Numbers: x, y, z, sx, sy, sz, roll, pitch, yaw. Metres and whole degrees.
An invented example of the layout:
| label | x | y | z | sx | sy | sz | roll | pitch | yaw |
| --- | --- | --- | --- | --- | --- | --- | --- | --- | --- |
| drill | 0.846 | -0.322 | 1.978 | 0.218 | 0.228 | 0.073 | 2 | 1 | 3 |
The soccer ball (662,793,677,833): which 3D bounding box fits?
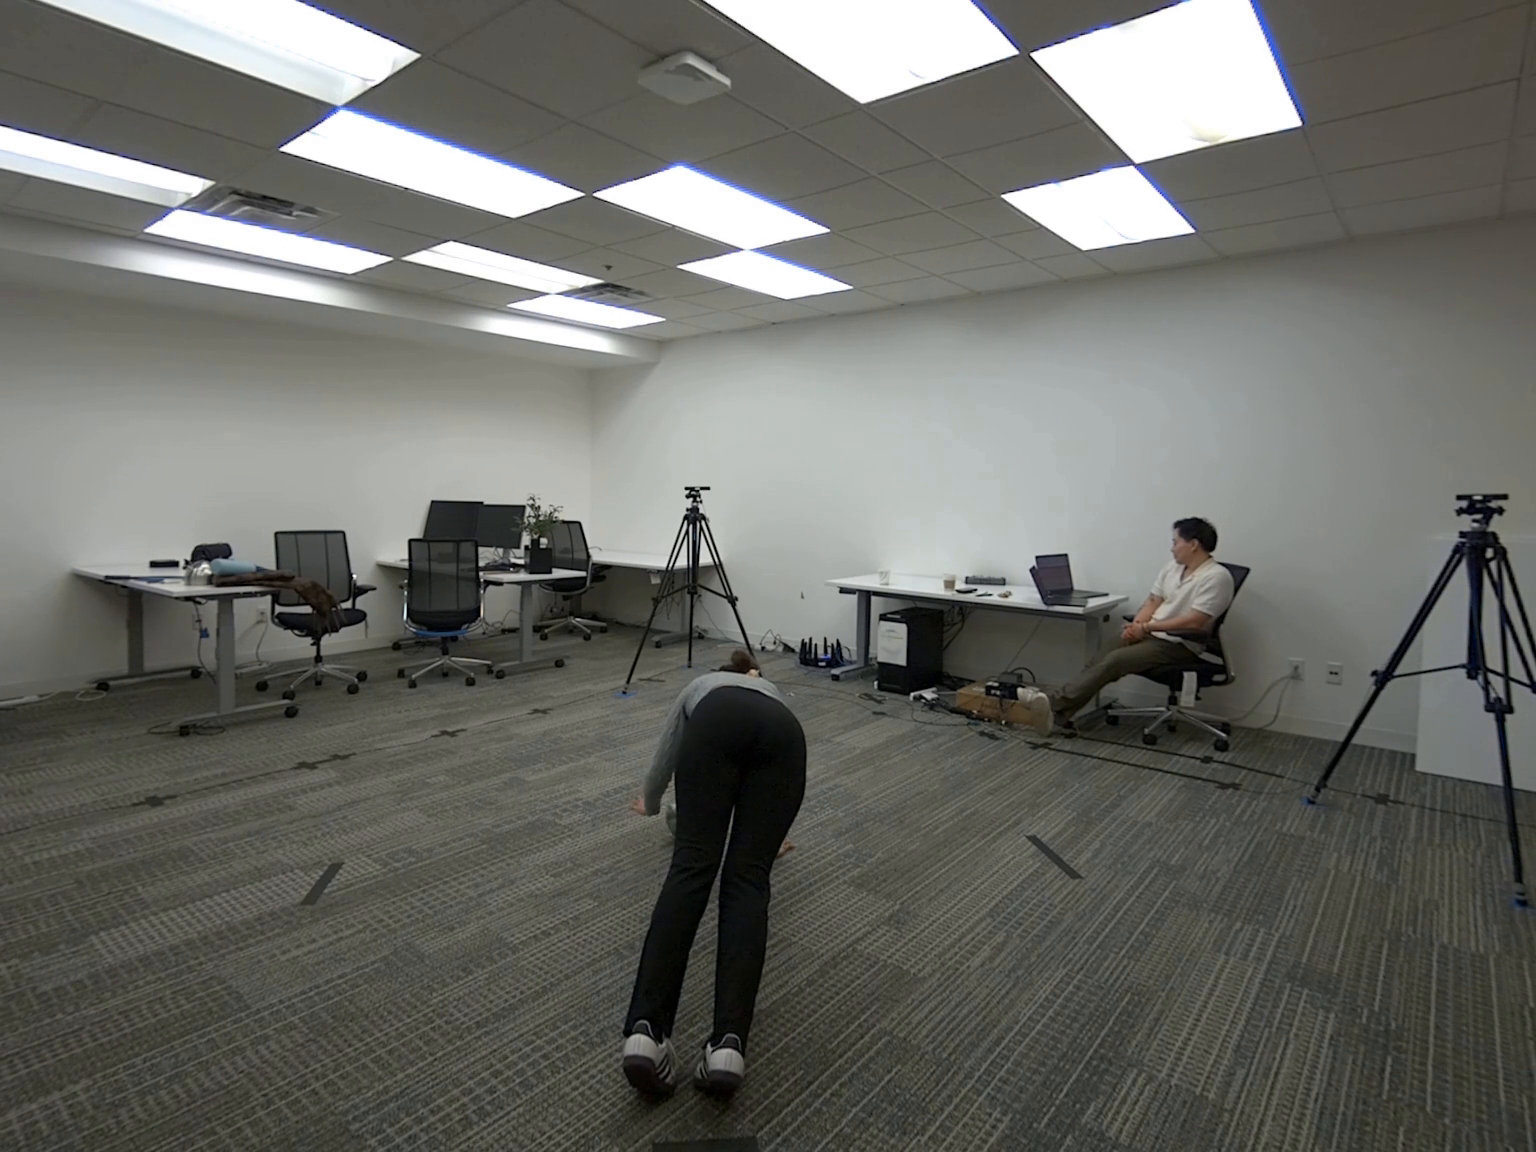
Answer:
| label | x | y | z | sx | sy | sz | roll | pitch | yaw |
| --- | --- | --- | --- | --- | --- | --- | --- | --- | --- |
| soccer ball | -0.319 | 0.939 | 3.359 | 0.187 | 0.187 | 0.188 | 1 | 4 | -2 |
